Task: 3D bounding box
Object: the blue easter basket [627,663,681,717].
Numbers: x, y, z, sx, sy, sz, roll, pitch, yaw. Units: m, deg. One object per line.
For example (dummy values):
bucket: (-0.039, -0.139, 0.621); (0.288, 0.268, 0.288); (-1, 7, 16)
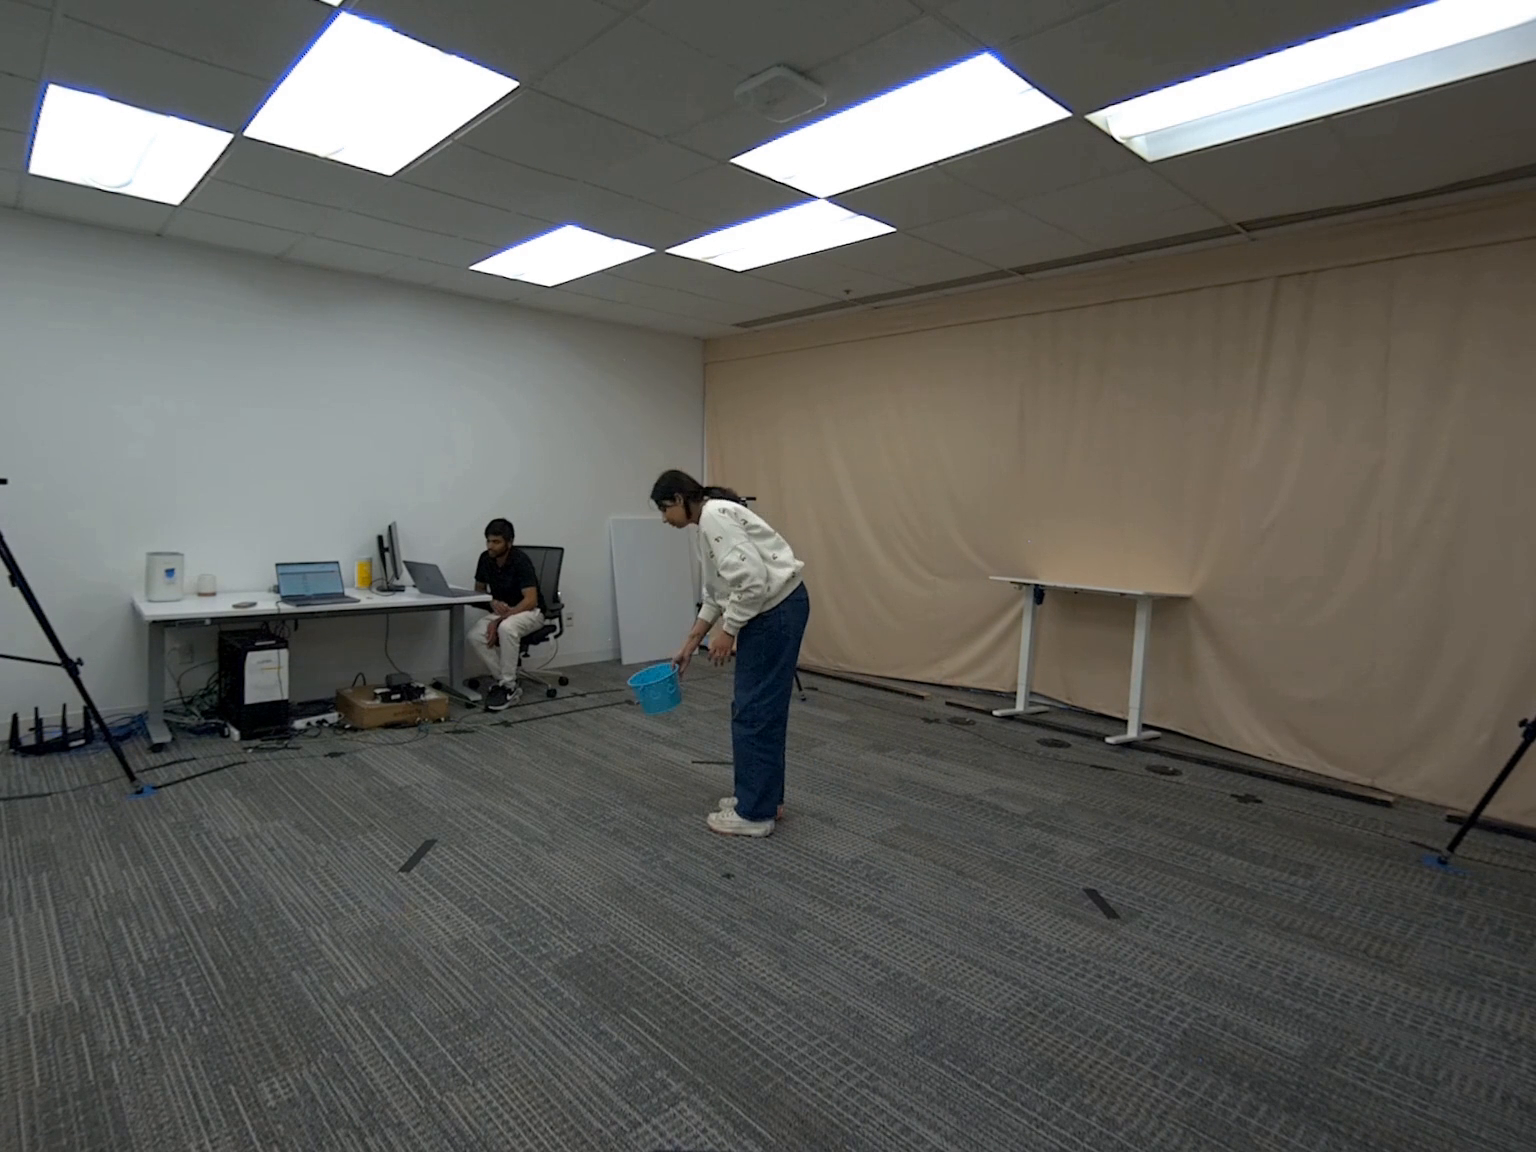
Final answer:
blue easter basket: (-0.496, 0.499, 3.733); (0.244, 0.154, 0.246); (-15, 13, 2)
